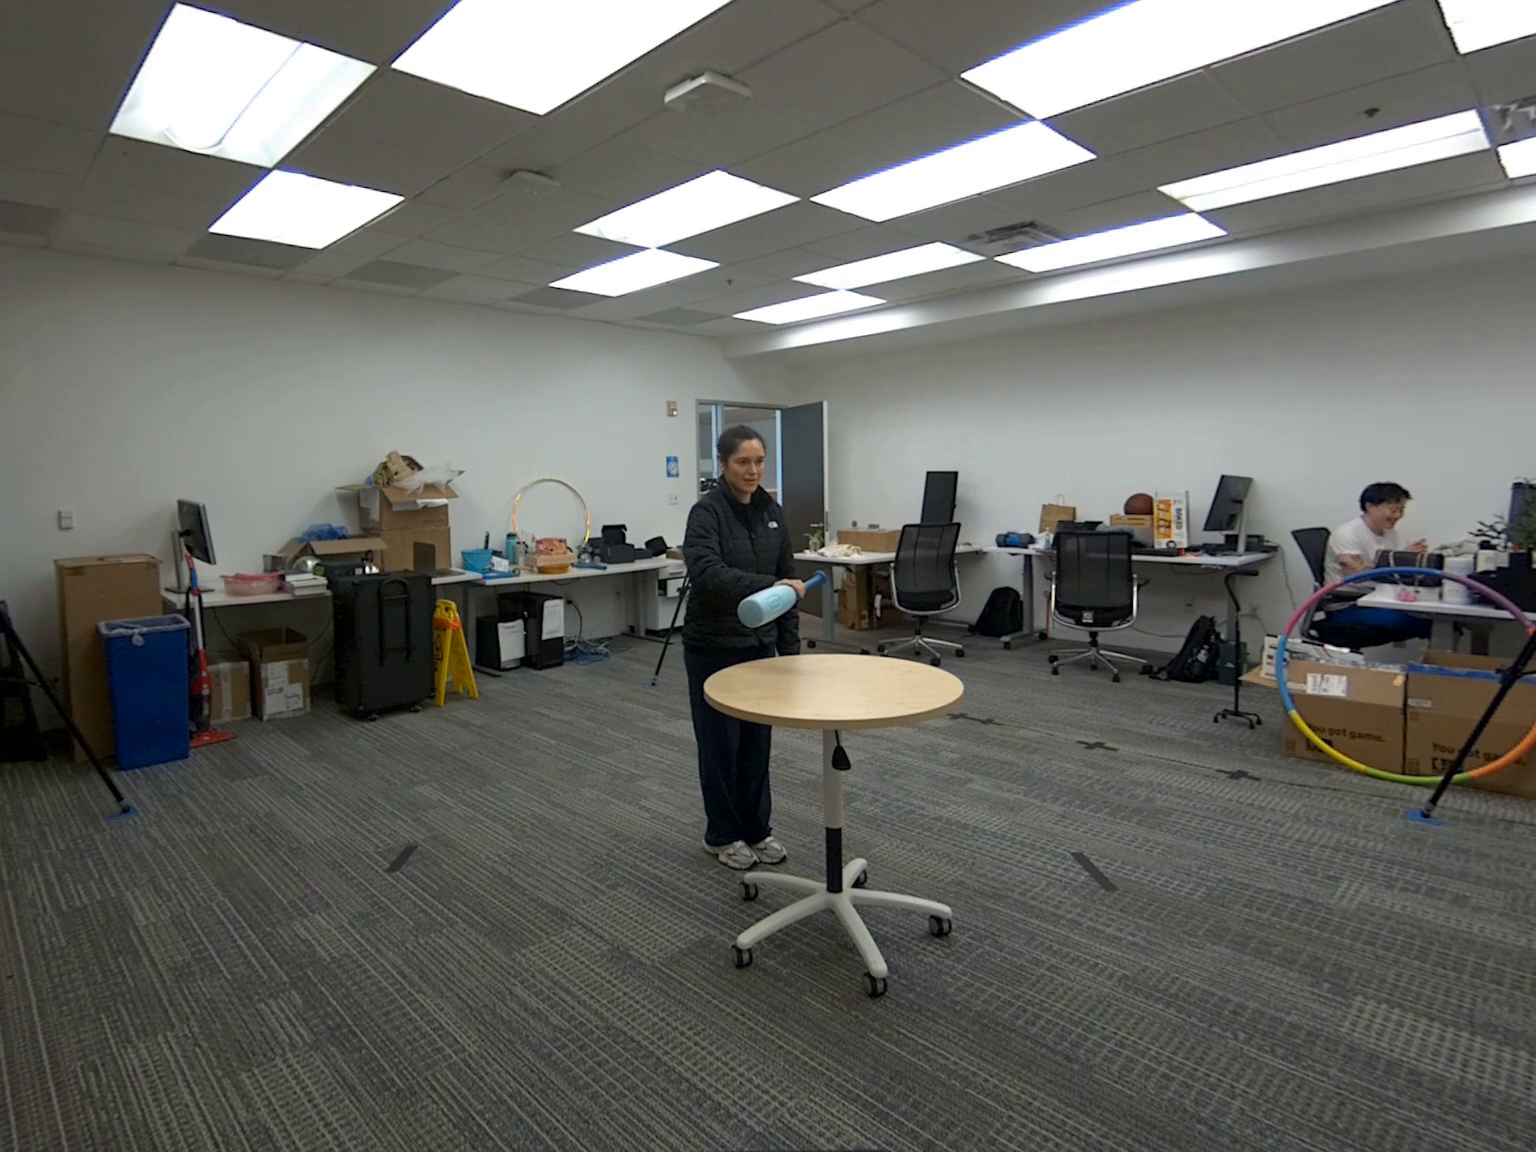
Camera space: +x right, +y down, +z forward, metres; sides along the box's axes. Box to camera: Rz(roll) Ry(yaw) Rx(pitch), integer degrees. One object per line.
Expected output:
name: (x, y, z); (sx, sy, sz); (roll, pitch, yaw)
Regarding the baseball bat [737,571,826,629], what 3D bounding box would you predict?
baseball bat: (0.057, 0.061, 2.633); (0.091, 0.088, 0.536); (1, 11, 21)
